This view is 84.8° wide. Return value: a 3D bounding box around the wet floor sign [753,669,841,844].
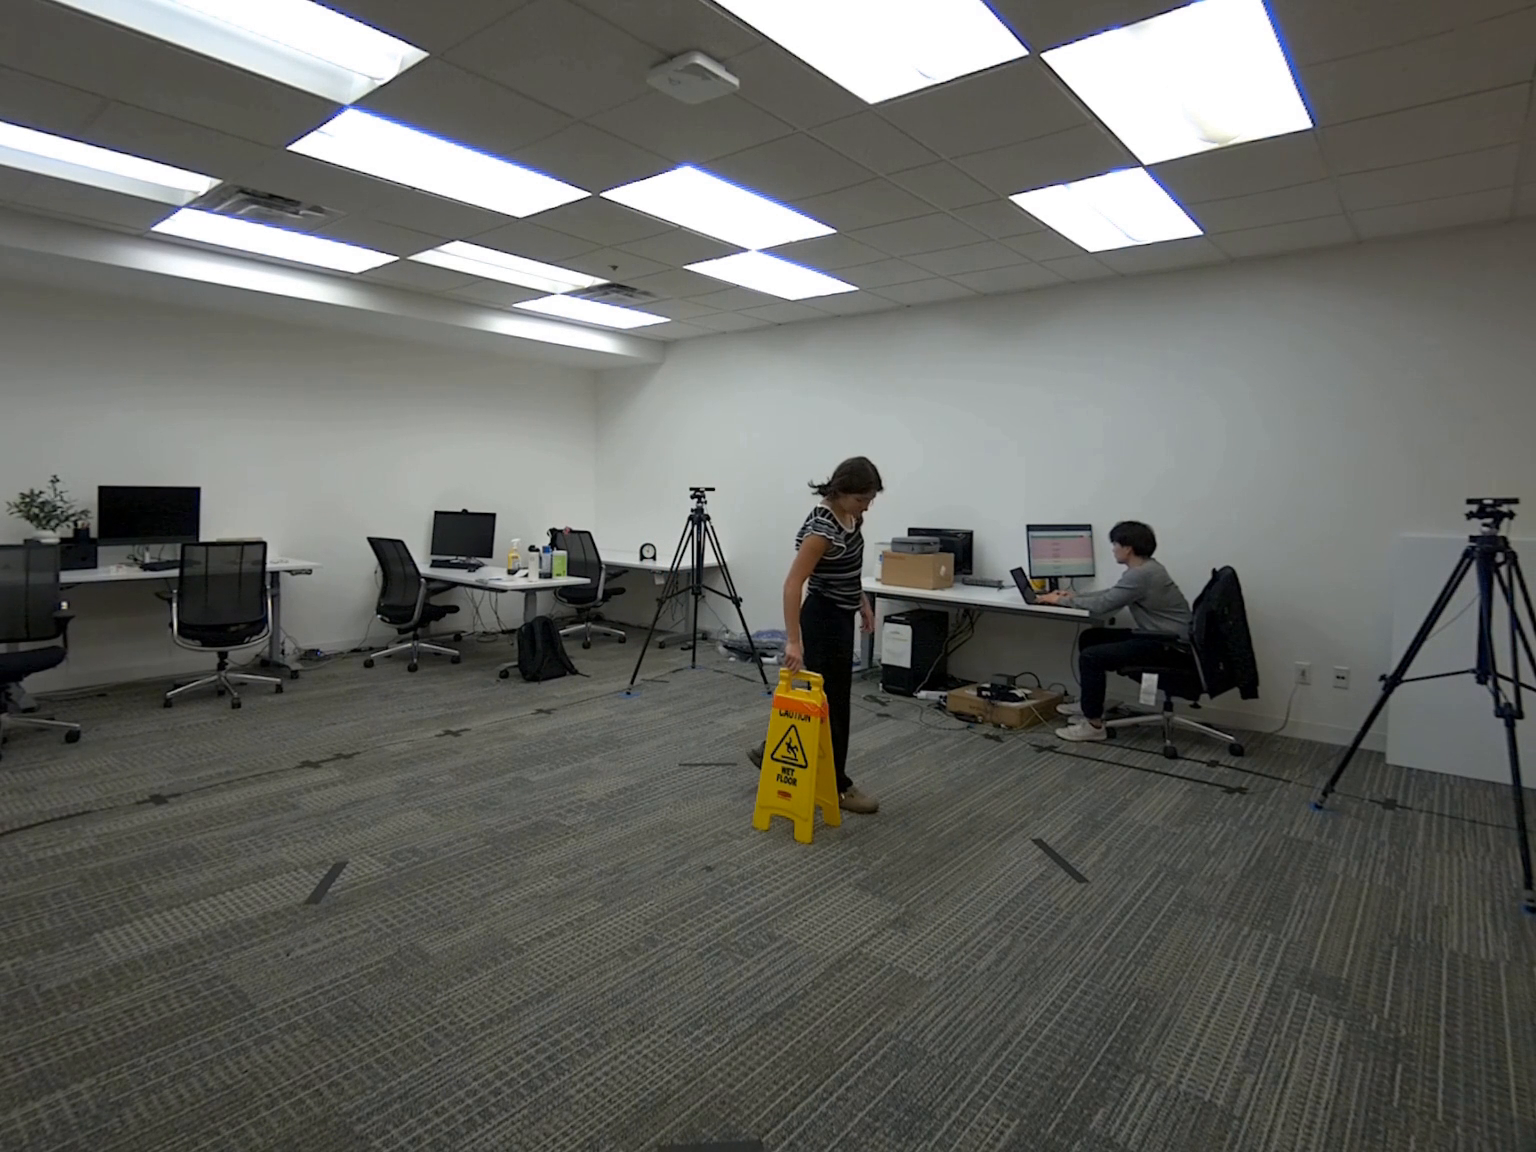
[{"bbox_3d":[0.120,0.708,3.512,0.291,0.644,0.281,4,4,35],"label":"wet floor sign"}]
